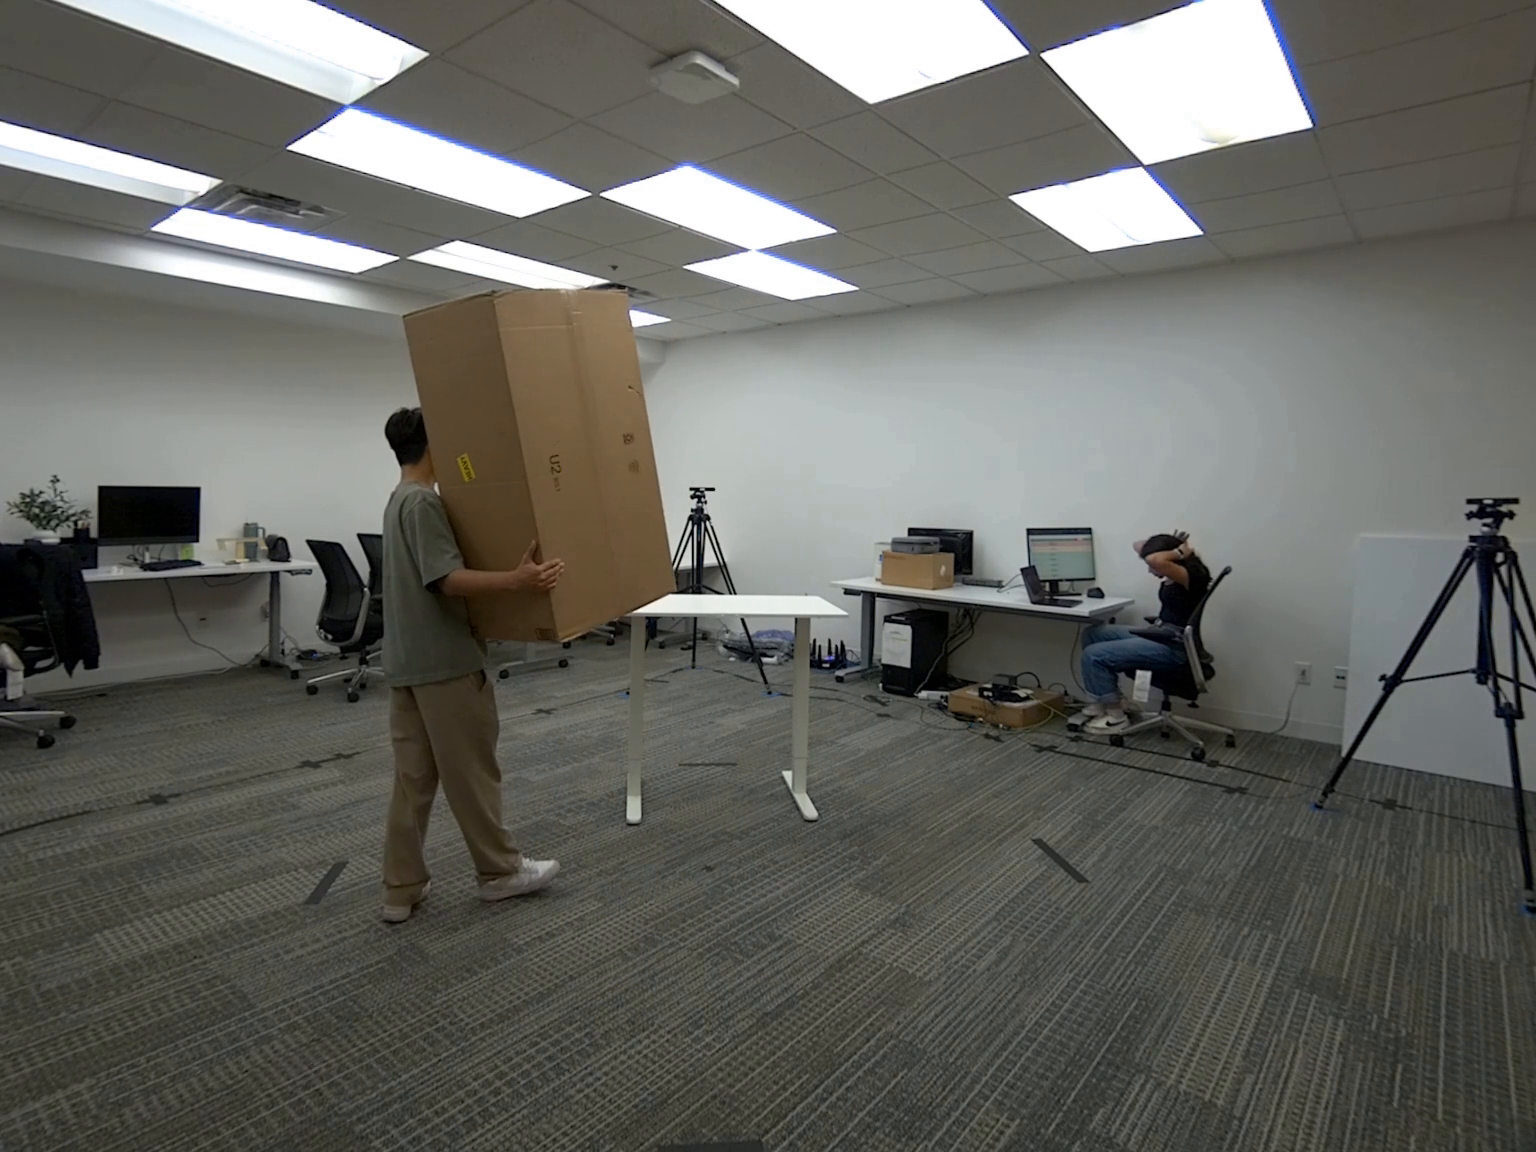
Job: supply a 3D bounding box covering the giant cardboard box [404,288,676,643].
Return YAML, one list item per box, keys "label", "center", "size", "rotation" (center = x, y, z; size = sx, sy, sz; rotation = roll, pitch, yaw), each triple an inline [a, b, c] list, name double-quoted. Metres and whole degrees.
- label: "giant cardboard box"
  center: [-0.717, -0.366, 2.750]
  size: [0.439, 1.014, 0.567]
  rotation: [-1, 13, 34]
